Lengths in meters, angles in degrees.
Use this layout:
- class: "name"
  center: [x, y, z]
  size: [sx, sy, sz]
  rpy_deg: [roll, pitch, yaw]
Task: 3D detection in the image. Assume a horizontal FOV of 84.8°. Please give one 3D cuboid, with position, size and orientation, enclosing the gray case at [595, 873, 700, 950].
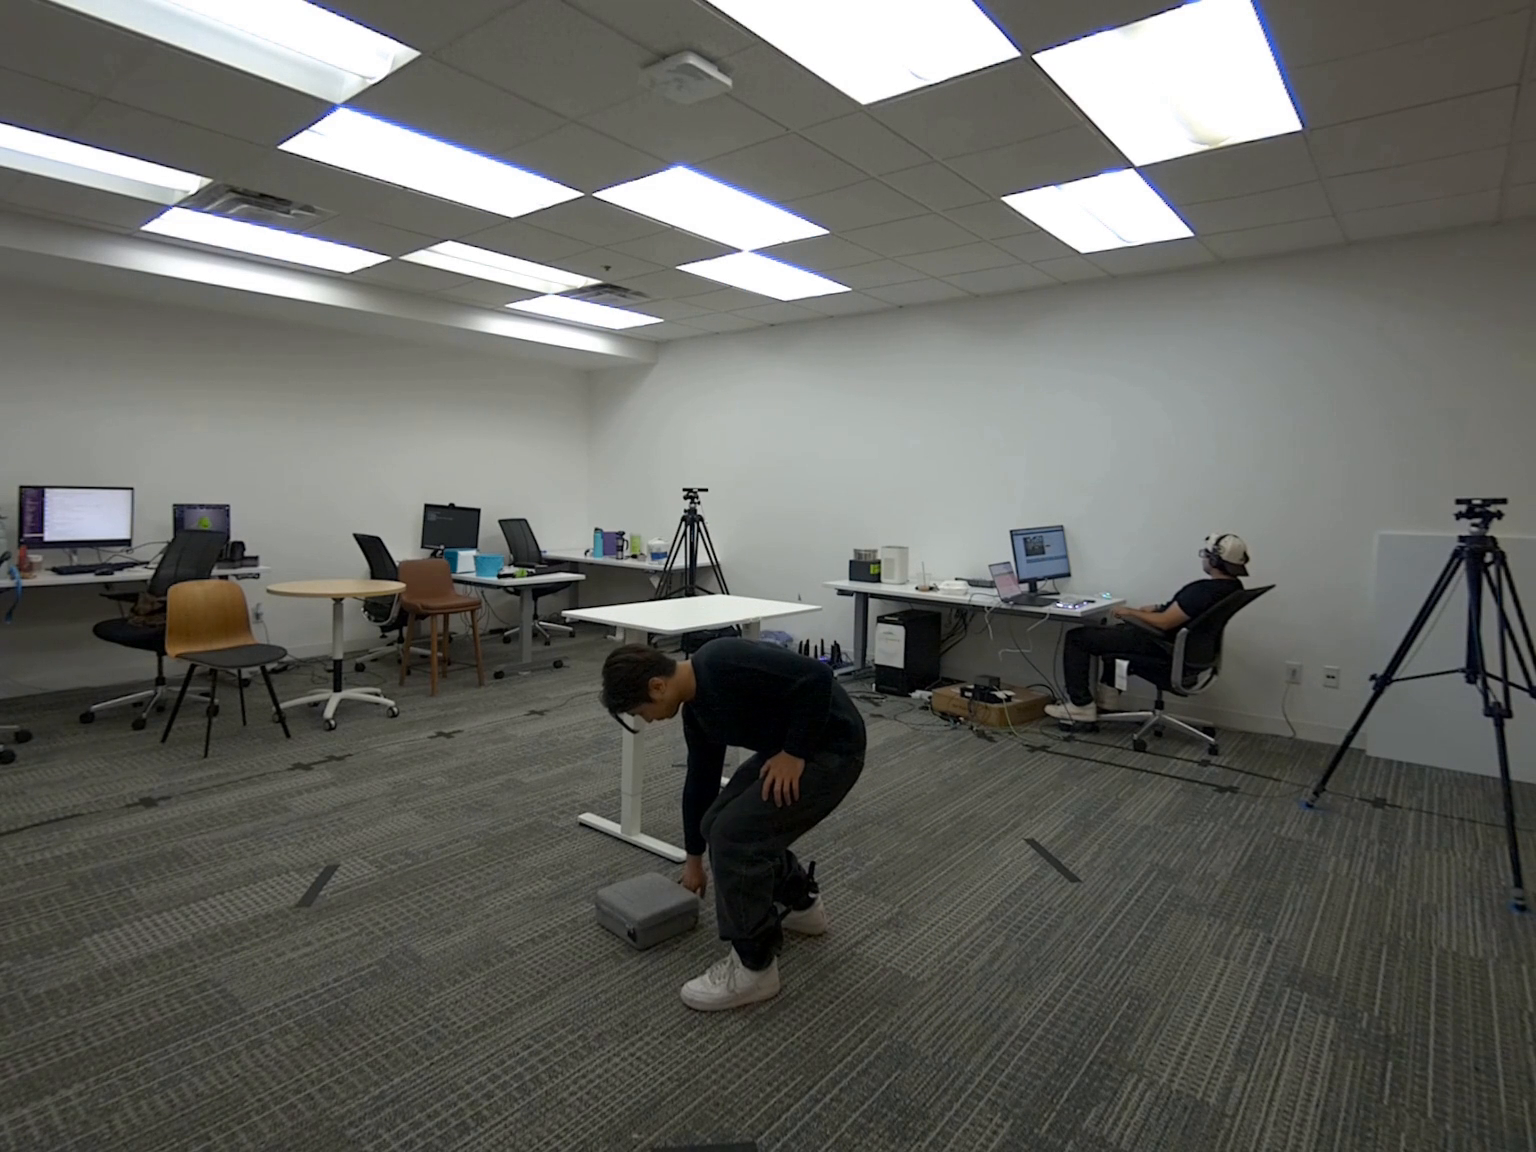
- class: "gray case"
  center: [-0.386, 1.048, 2.704]
  size: [0.265, 0.104, 0.253]
  rpy_deg: [2, 4, 42]
